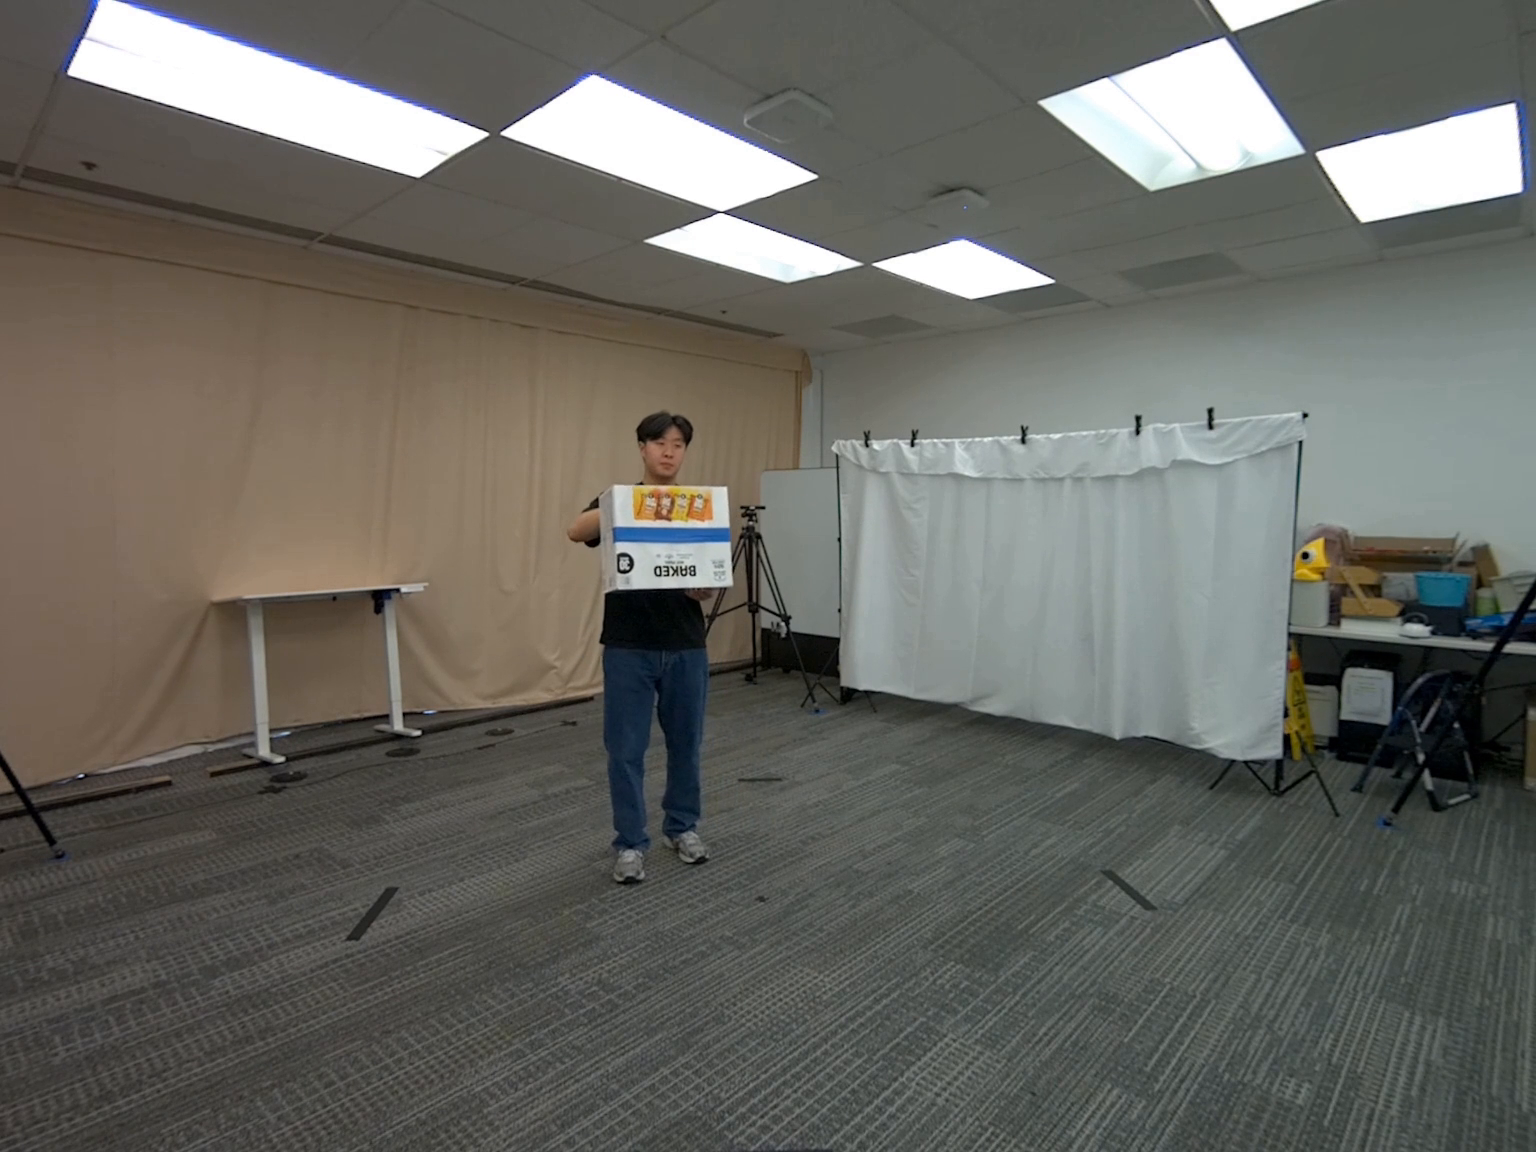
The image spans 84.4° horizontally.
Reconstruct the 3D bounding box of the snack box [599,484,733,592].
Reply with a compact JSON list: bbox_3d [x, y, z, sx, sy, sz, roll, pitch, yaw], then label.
[{"bbox_3d":[-0.346,-0.122,2.857,0.396,0.342,0.209,-1,-7,-22],"label":"snack box"}]
